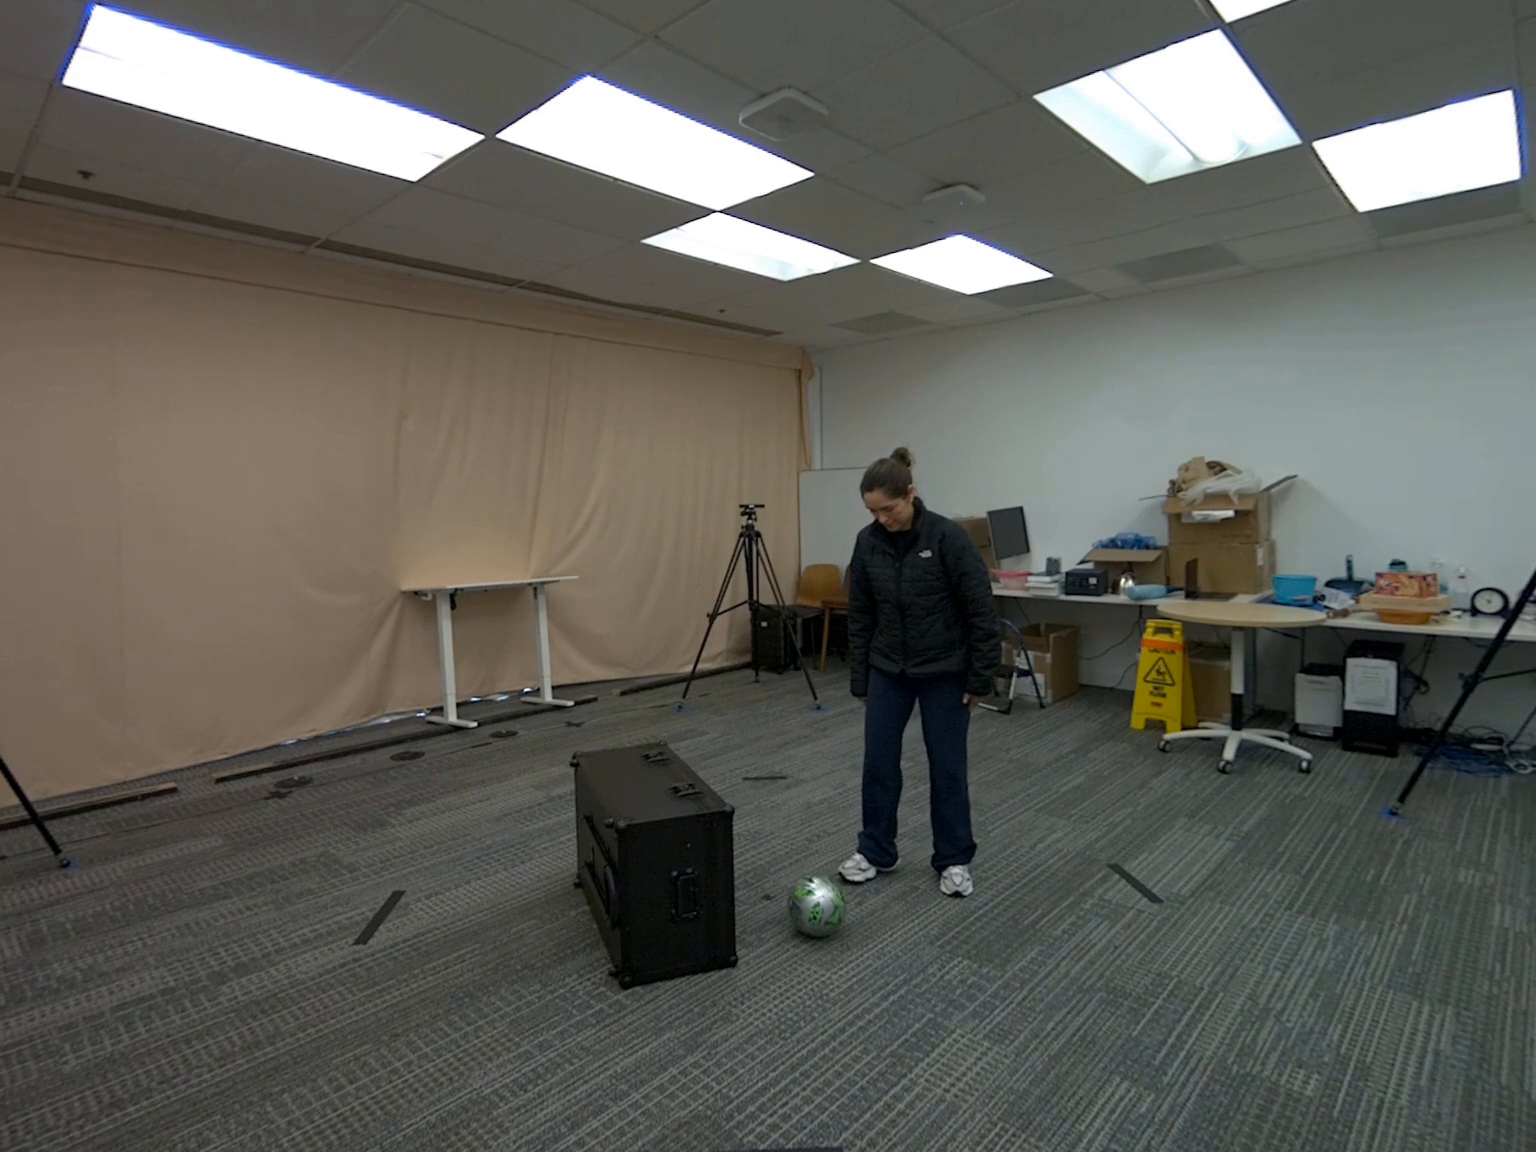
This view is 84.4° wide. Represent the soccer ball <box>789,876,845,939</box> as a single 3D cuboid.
[{"bbox_3d":[0.161,1.066,2.714,0.187,0.187,0.188,-1,4,-2],"label":"soccer ball"}]
